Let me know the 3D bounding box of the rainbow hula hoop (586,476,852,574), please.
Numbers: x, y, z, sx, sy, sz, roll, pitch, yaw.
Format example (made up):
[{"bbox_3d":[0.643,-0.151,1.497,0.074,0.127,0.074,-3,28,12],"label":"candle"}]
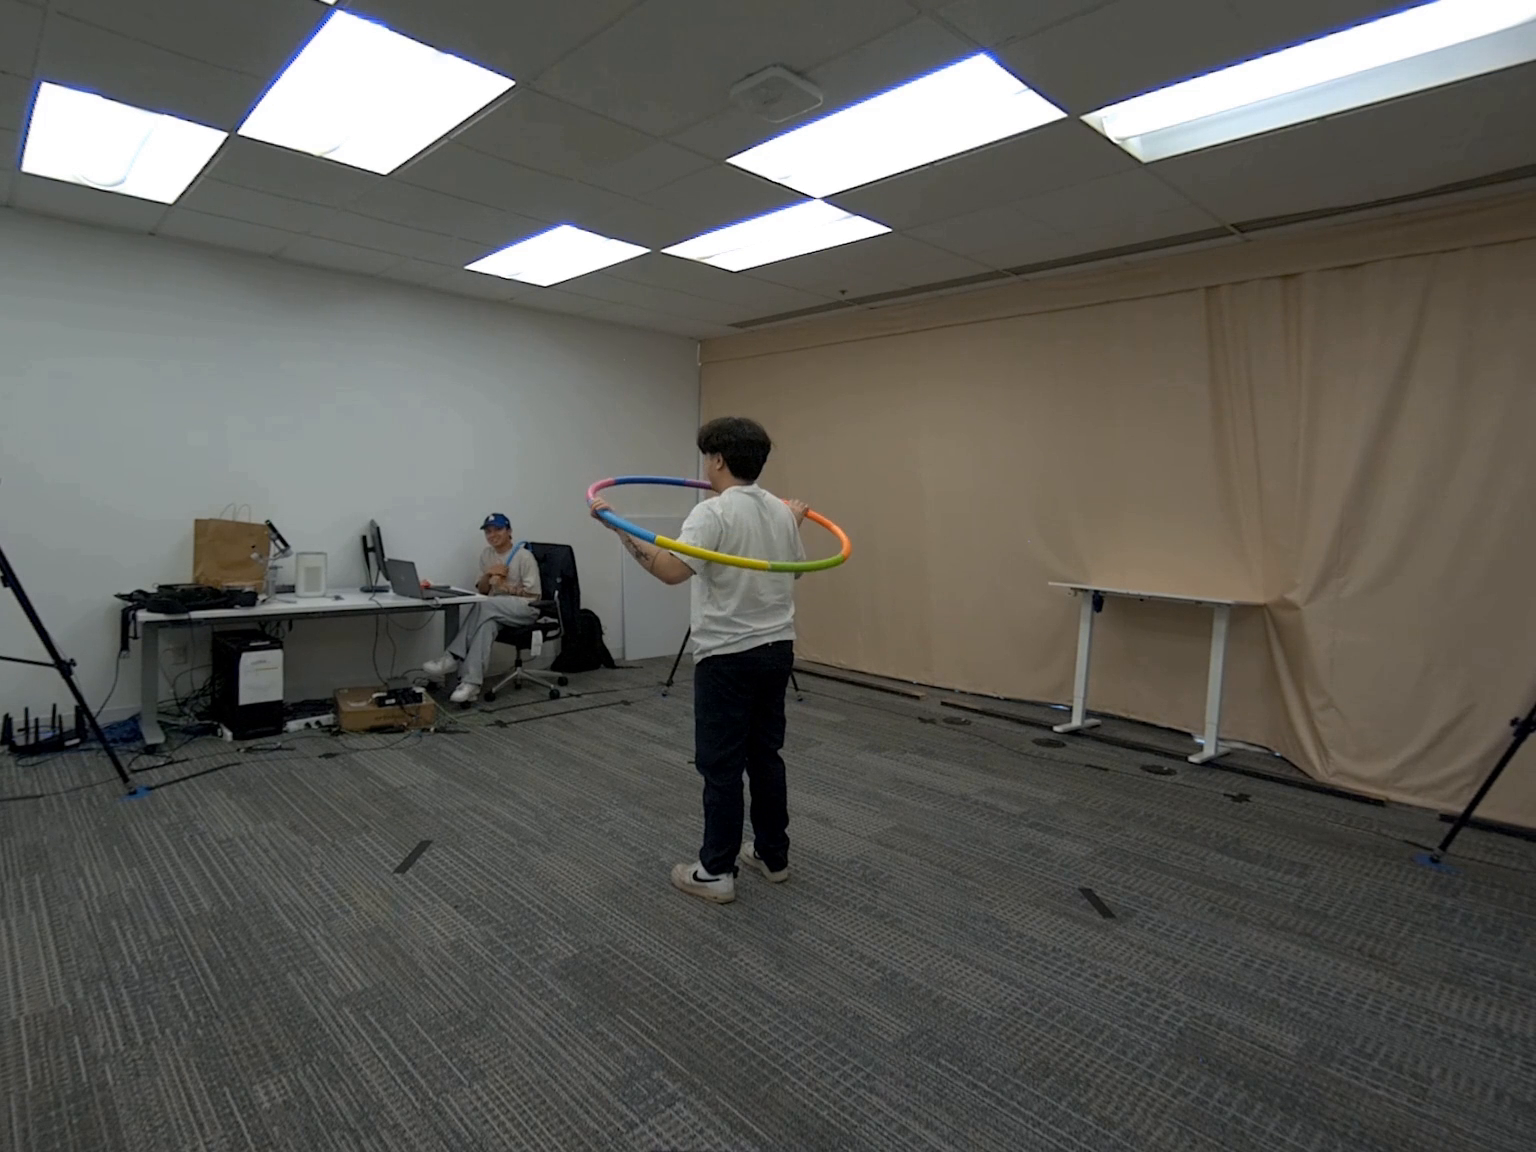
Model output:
[{"bbox_3d":[-0.165,-0.205,3.086,0.981,0.051,0.999,11,19,-5],"label":"rainbow hula hoop"}]
